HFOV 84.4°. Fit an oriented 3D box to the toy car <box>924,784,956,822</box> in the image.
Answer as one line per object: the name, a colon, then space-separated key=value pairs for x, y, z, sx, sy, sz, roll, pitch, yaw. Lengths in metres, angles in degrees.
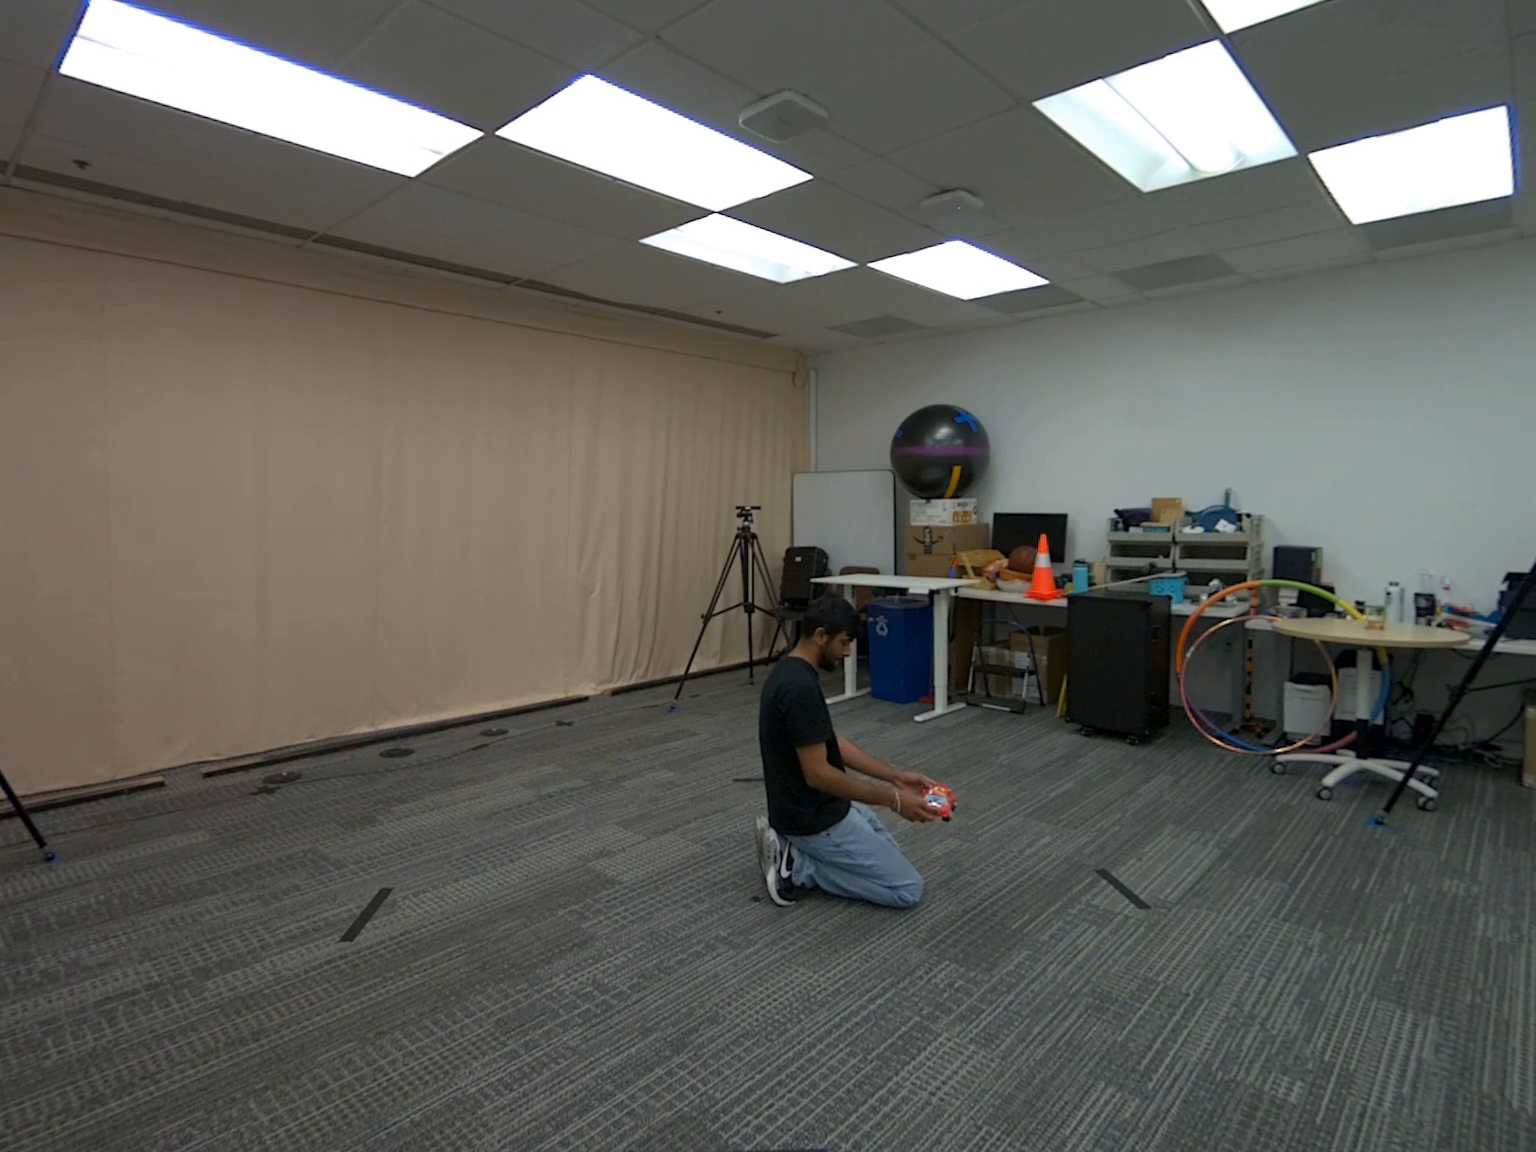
toy car: x=0.601 y=0.798 z=2.949 sx=0.133 sy=0.082 sz=0.250 roll=4 pitch=12 yaw=20
